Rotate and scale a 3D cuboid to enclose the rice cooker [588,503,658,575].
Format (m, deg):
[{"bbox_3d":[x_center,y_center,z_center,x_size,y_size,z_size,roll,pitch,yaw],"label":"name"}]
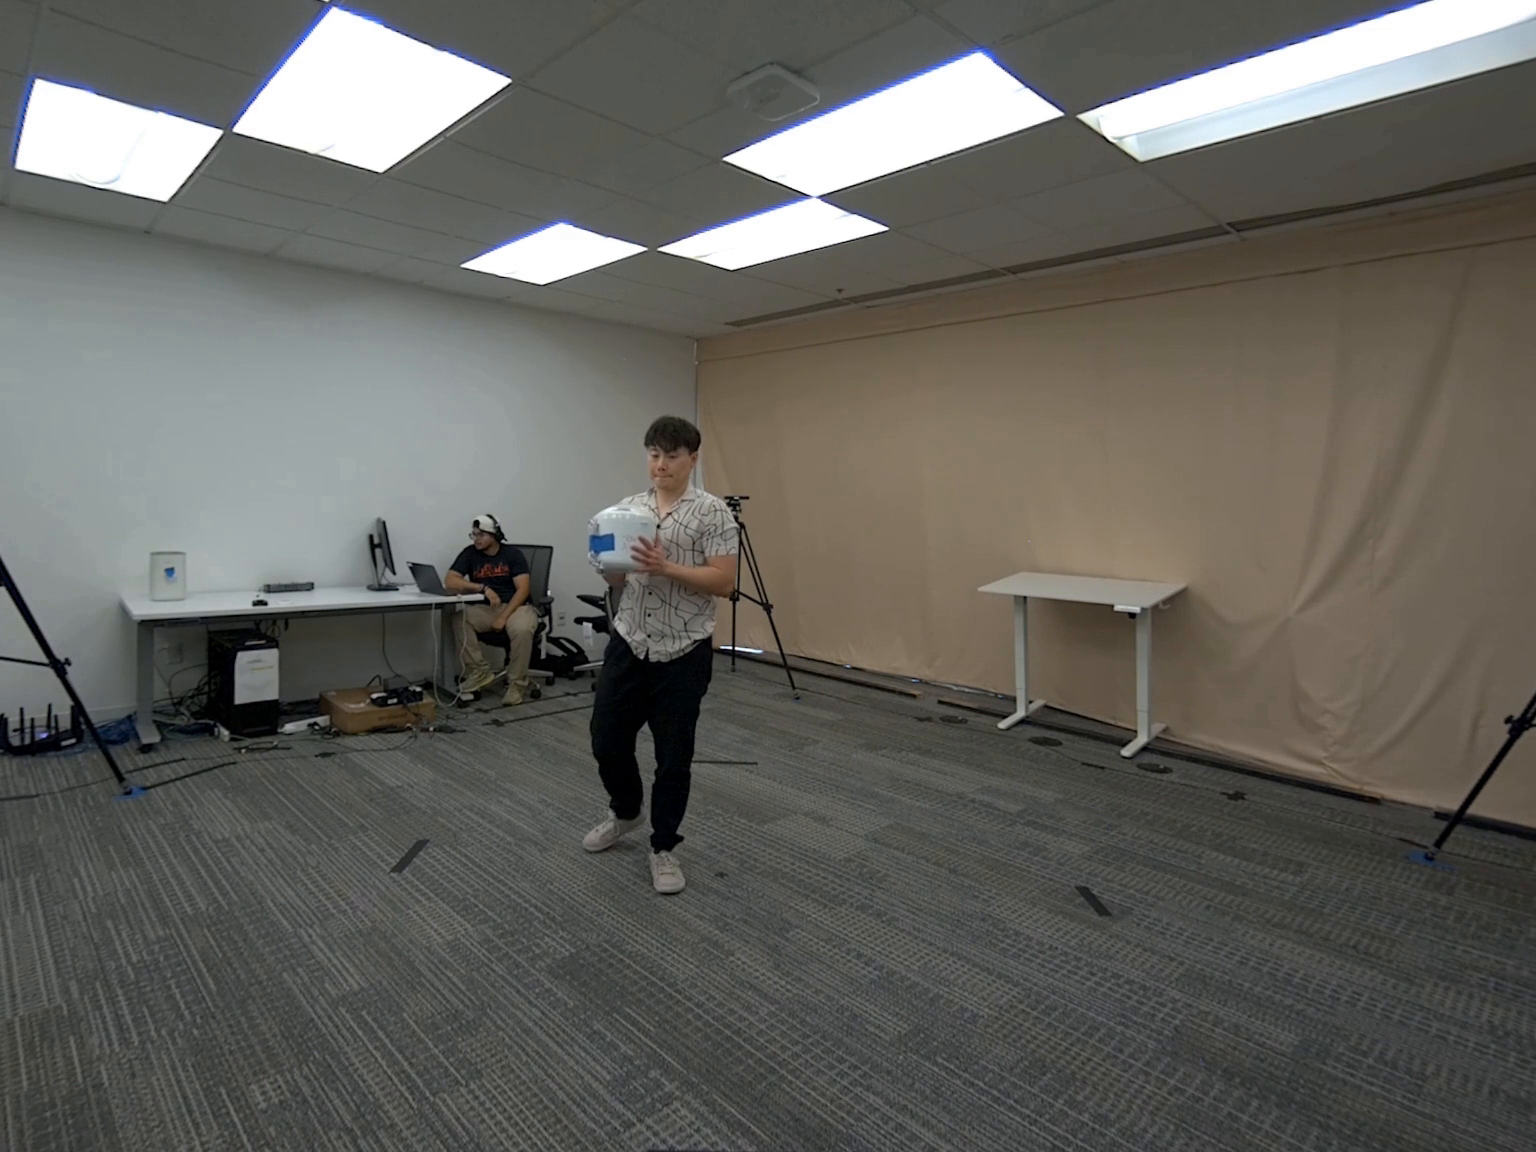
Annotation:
[{"bbox_3d":[-0.506,-0.126,2.883,0.222,0.234,0.215,2,-7,5],"label":"rice cooker"}]
